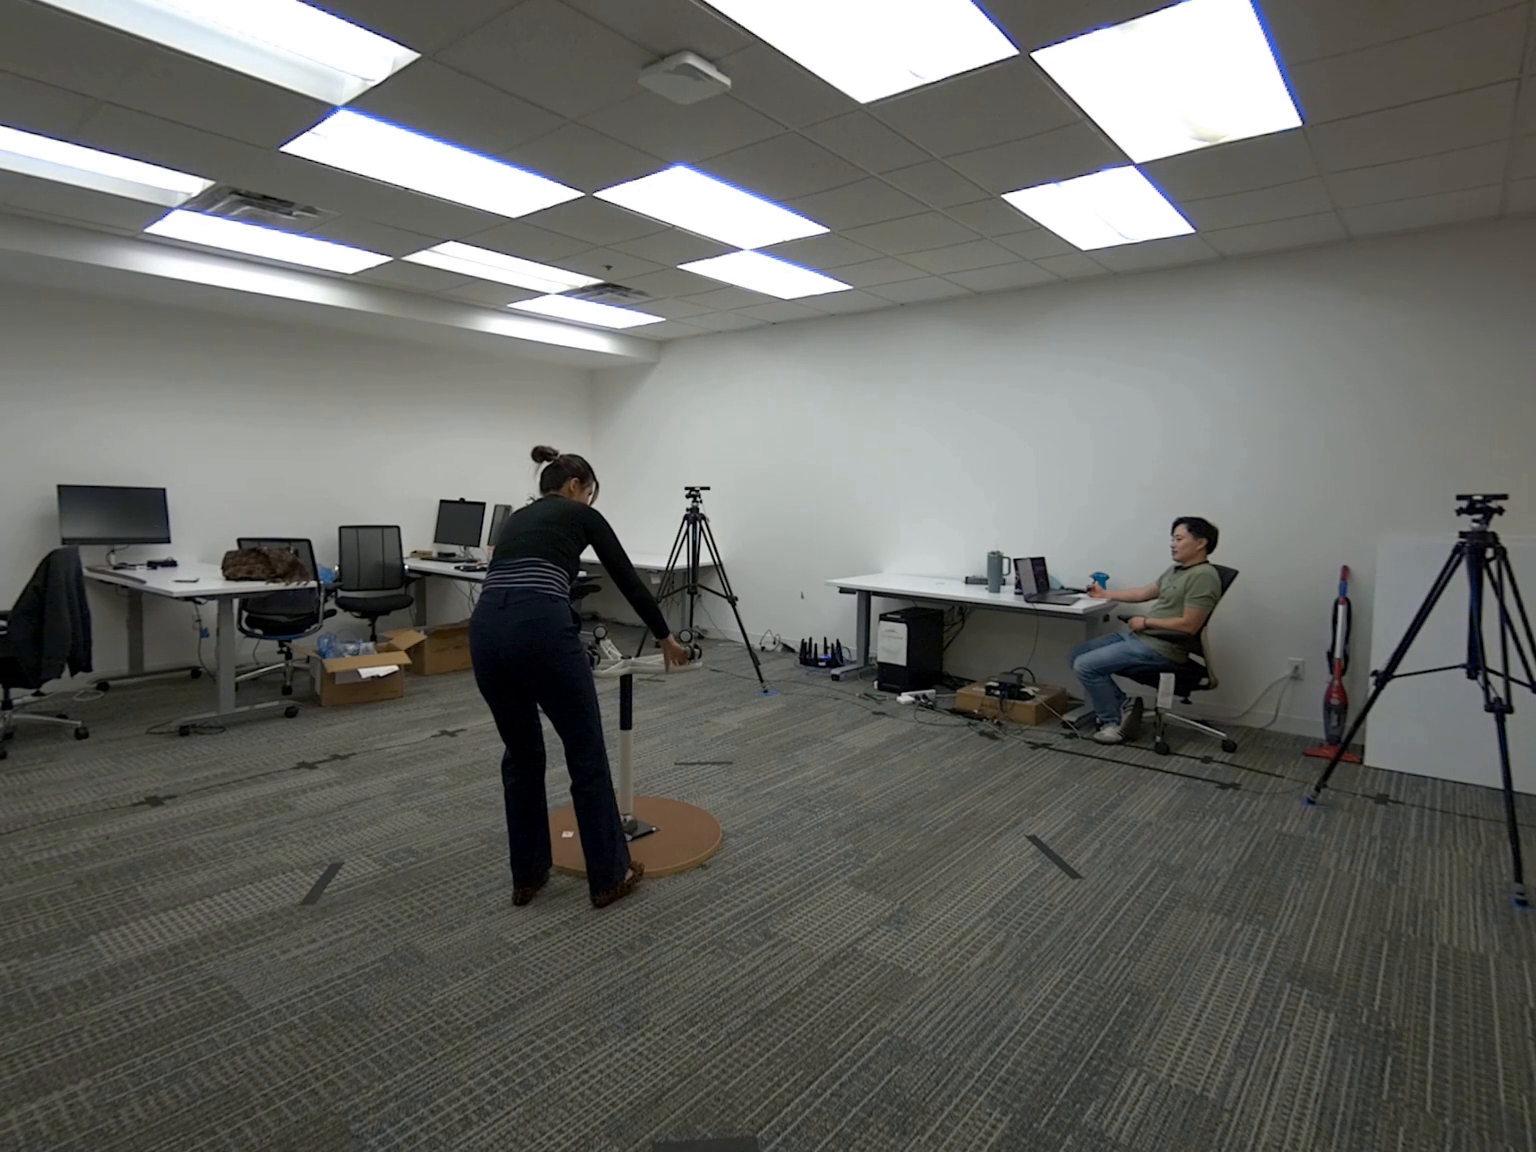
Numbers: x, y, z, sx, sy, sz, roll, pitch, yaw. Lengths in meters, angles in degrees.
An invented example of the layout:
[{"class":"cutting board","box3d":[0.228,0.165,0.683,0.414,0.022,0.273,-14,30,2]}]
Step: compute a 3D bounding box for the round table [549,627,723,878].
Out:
[{"class":"round table","box3d":[-0.571,0.643,3.360,0.763,0.791,0.768,0,5,-2]}]
